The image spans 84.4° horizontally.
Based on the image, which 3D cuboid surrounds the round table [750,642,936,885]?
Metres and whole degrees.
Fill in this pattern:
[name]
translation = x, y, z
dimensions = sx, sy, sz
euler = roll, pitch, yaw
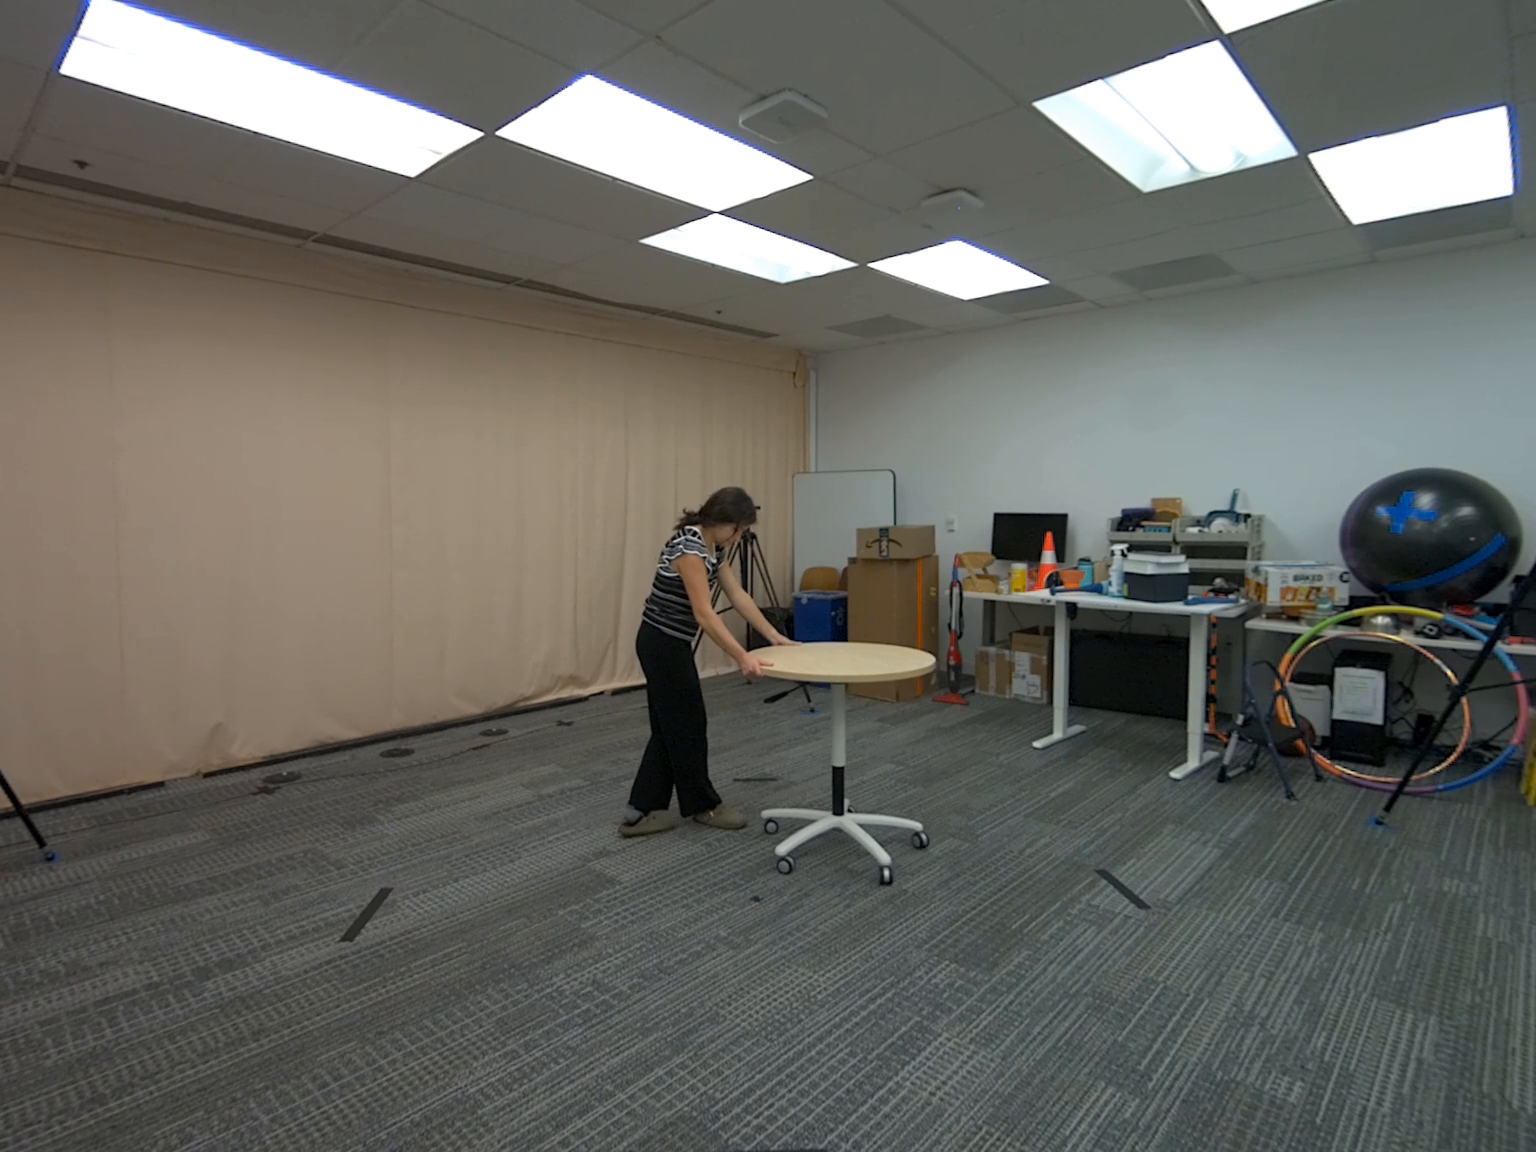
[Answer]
[round table]
translation = 0.291, 0.721, 3.399
dimensions = 0.763, 0.792, 0.766
euler = -1, 3, -2
